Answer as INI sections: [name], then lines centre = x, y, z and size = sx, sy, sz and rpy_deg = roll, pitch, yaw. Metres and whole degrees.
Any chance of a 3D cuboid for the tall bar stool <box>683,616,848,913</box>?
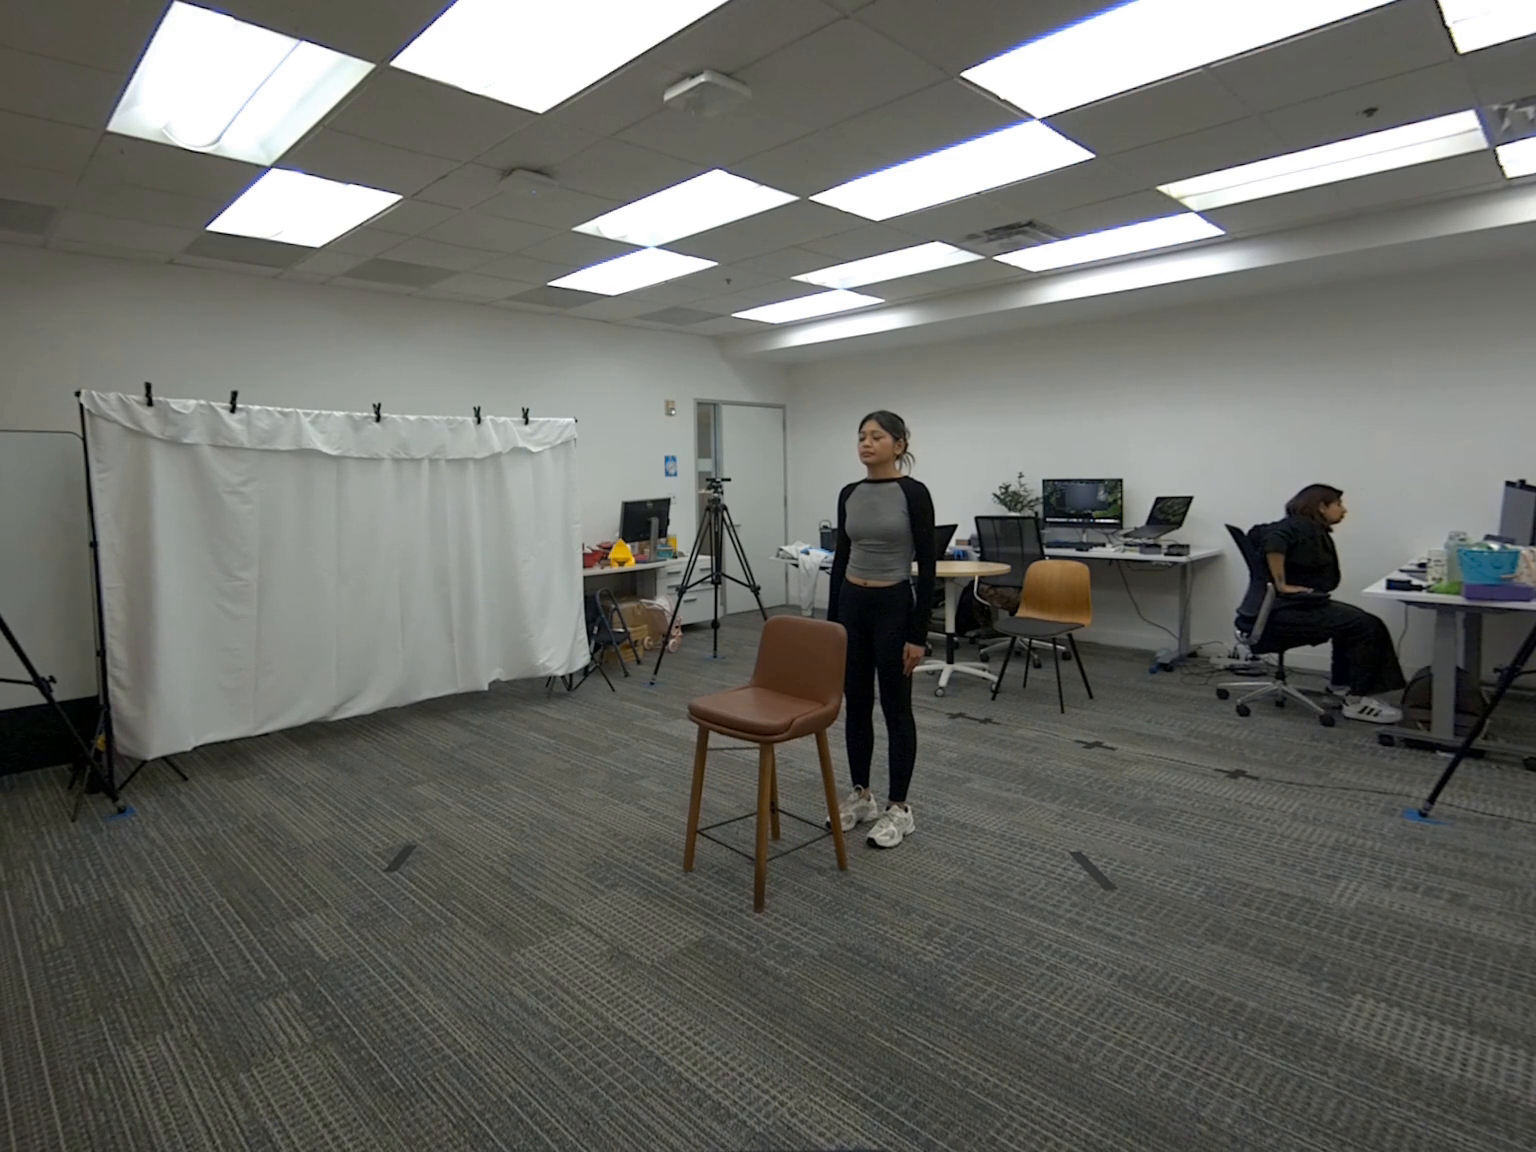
[tall bar stool]
centre = 0.003, 0.614, 3.018
size = 0.454, 0.888, 0.471
rpy_deg = -1, 4, -41
